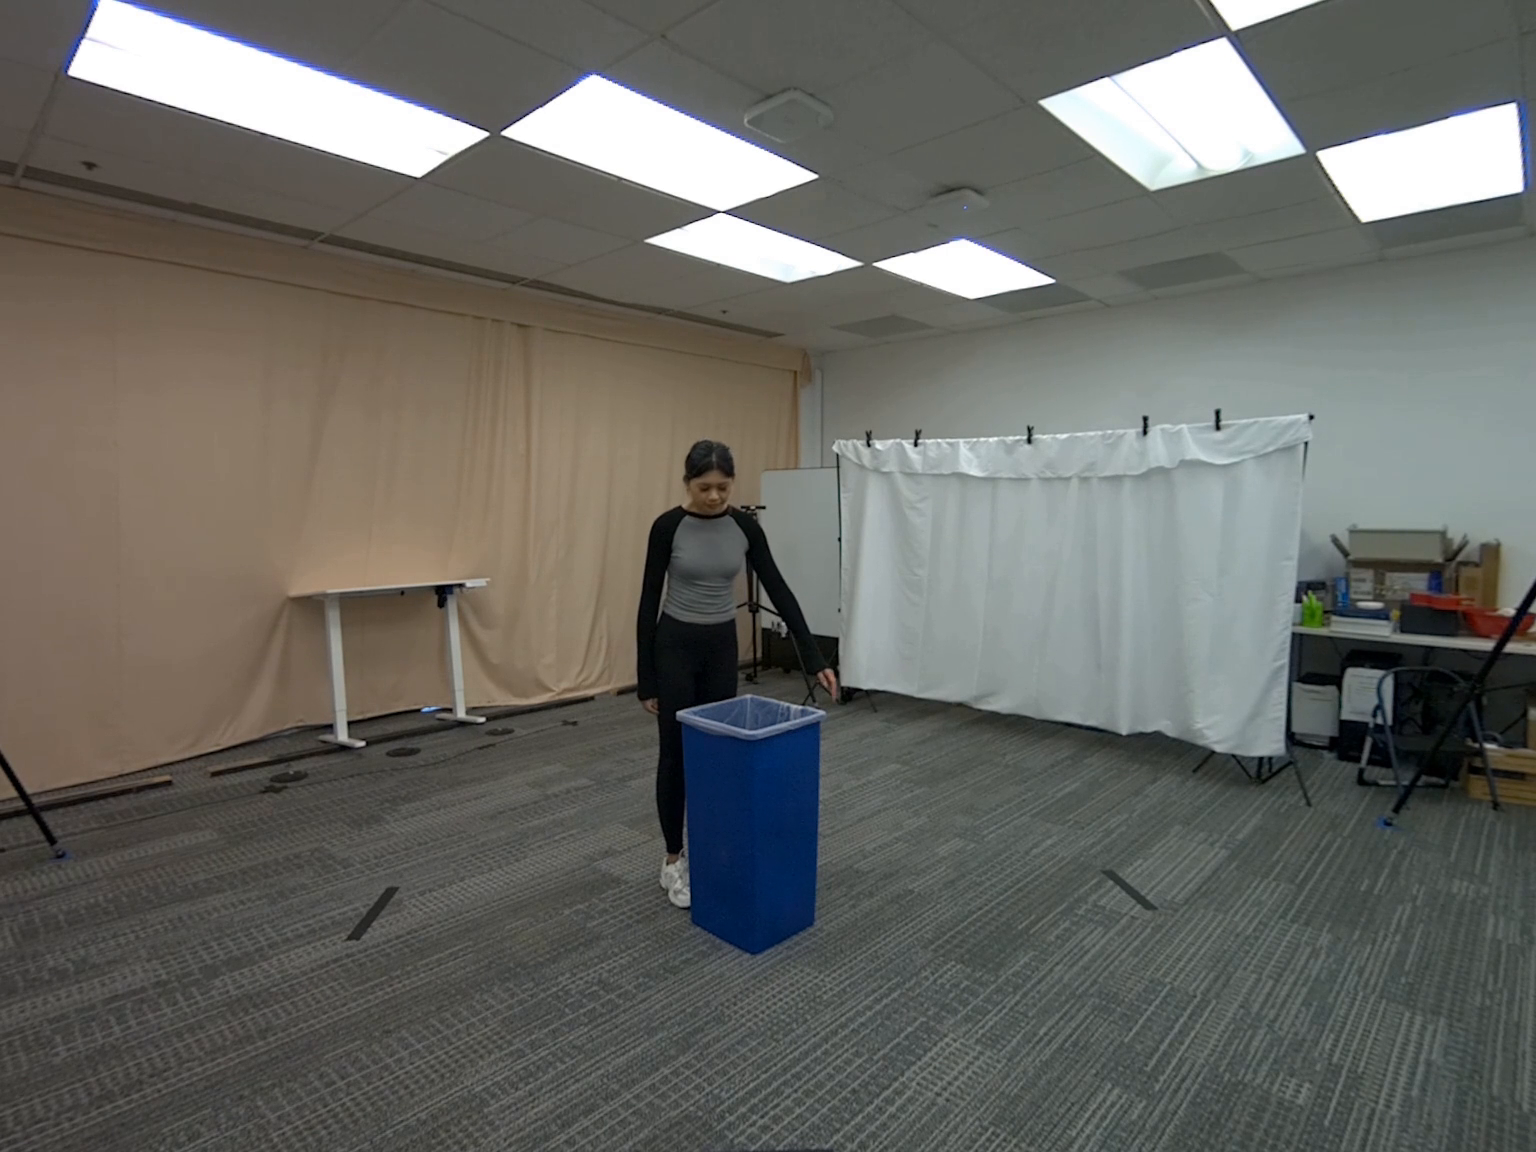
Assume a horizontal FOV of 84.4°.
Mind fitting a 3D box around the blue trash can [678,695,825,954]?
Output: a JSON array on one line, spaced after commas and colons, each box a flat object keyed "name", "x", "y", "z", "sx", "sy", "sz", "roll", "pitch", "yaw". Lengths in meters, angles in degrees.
[{"name": "blue trash can", "x": -0.050, "y": 0.803, "z": 2.784, "sx": 0.391, "sy": 0.712, "sz": 0.362, "roll": 3, "pitch": 4, "yaw": 45}]
